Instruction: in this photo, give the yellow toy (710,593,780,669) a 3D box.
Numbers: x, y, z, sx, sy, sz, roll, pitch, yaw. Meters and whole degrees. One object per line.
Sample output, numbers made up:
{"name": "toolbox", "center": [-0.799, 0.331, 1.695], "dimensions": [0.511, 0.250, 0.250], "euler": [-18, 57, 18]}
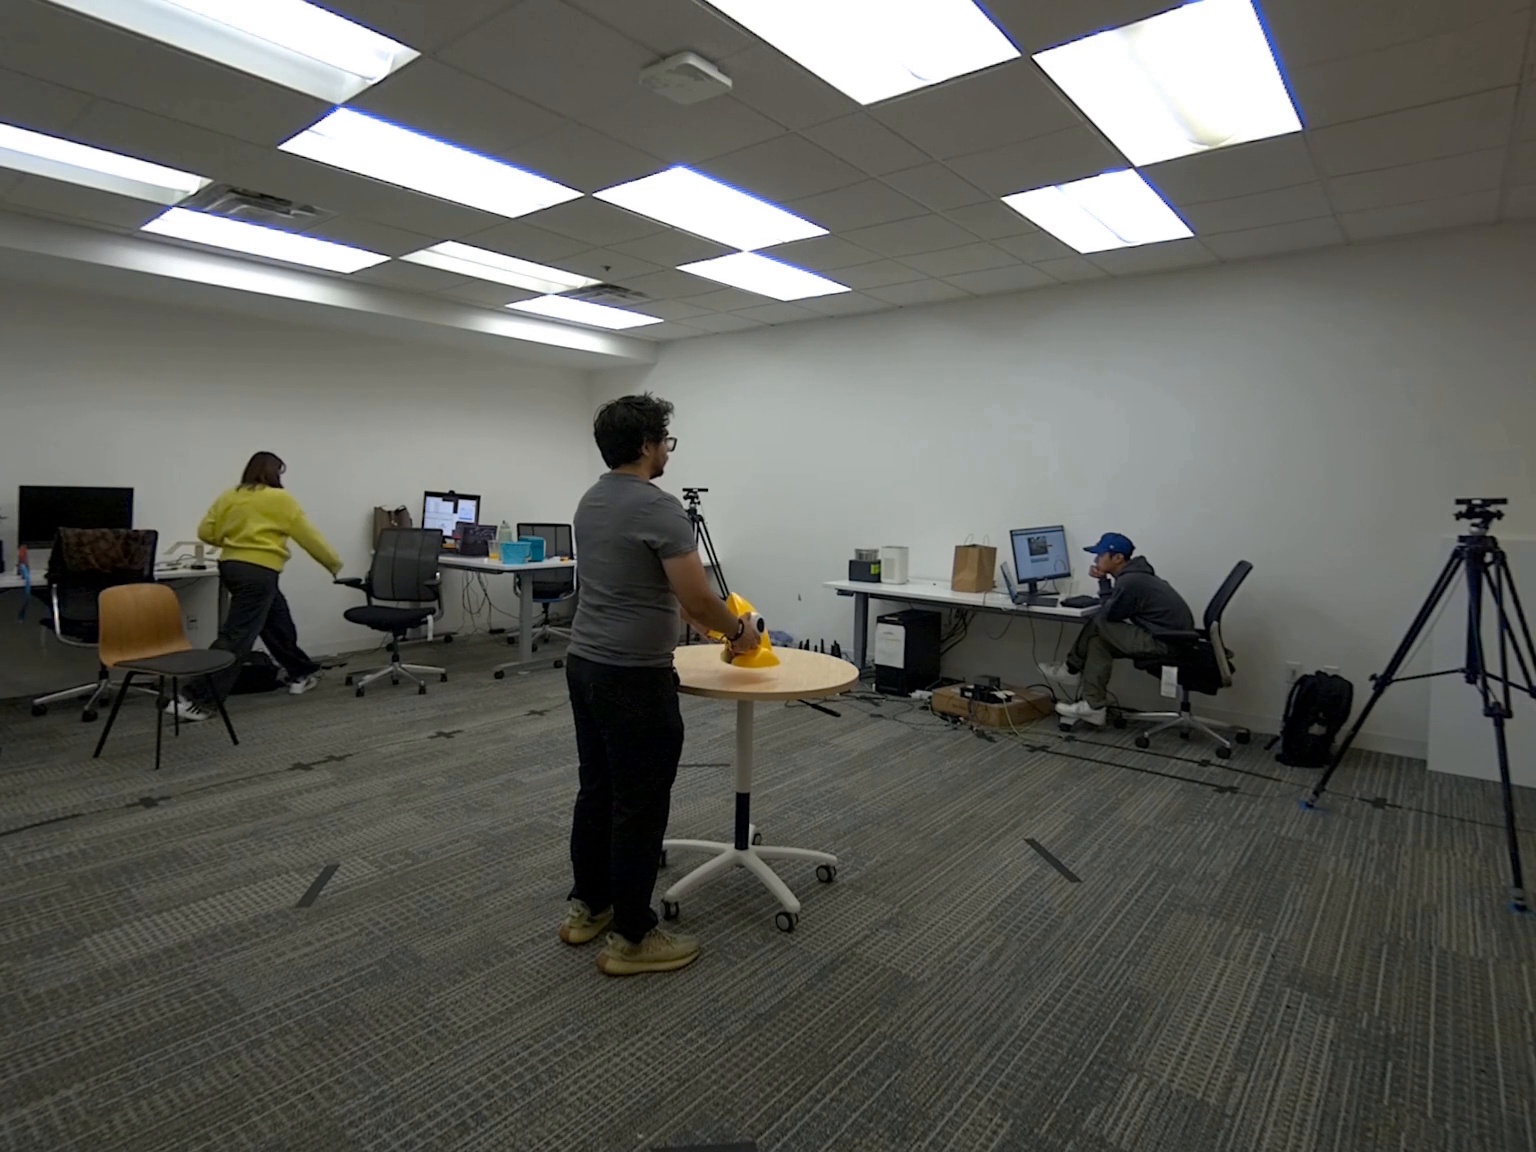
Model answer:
{"name": "yellow toy", "center": [-0.074, 0.161, 2.758], "dimensions": [0.188, 0.230, 0.211], "euler": [-1, 5, -30]}
